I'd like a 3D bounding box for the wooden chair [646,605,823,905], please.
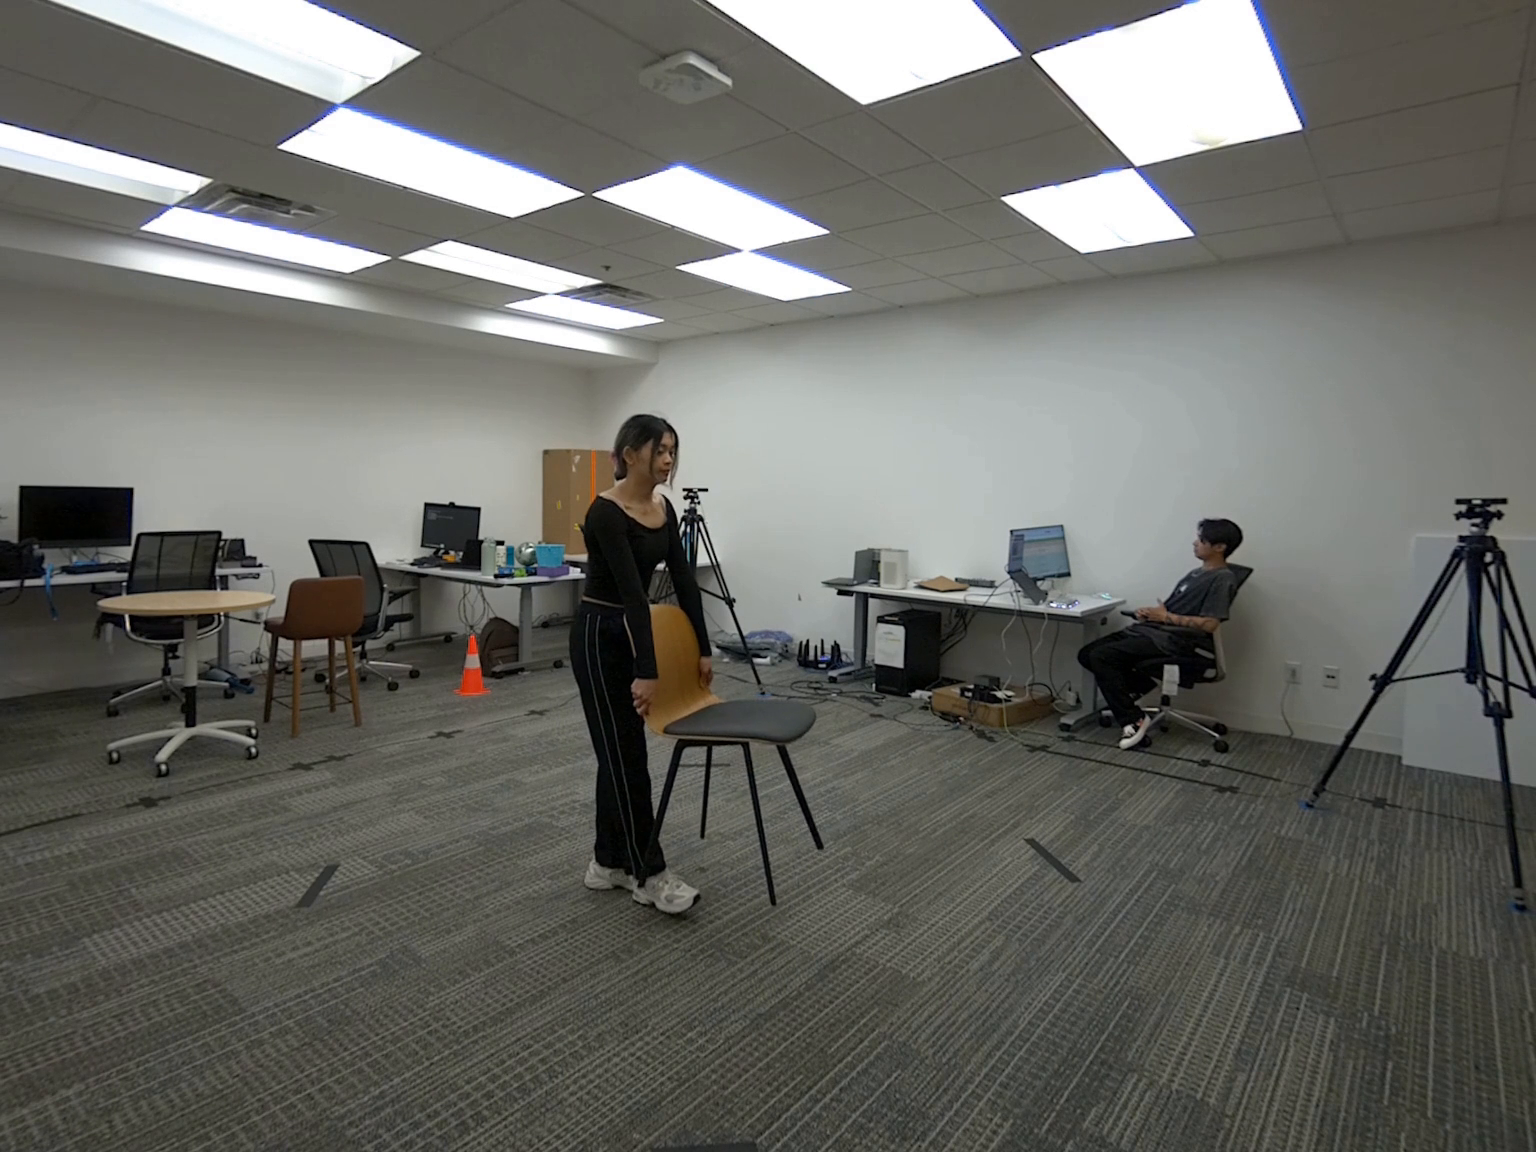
[{"bbox_3d":[-0.135,0.511,2.715,0.534,0.880,0.467,-8,-2,23],"label":"wooden chair"}]
